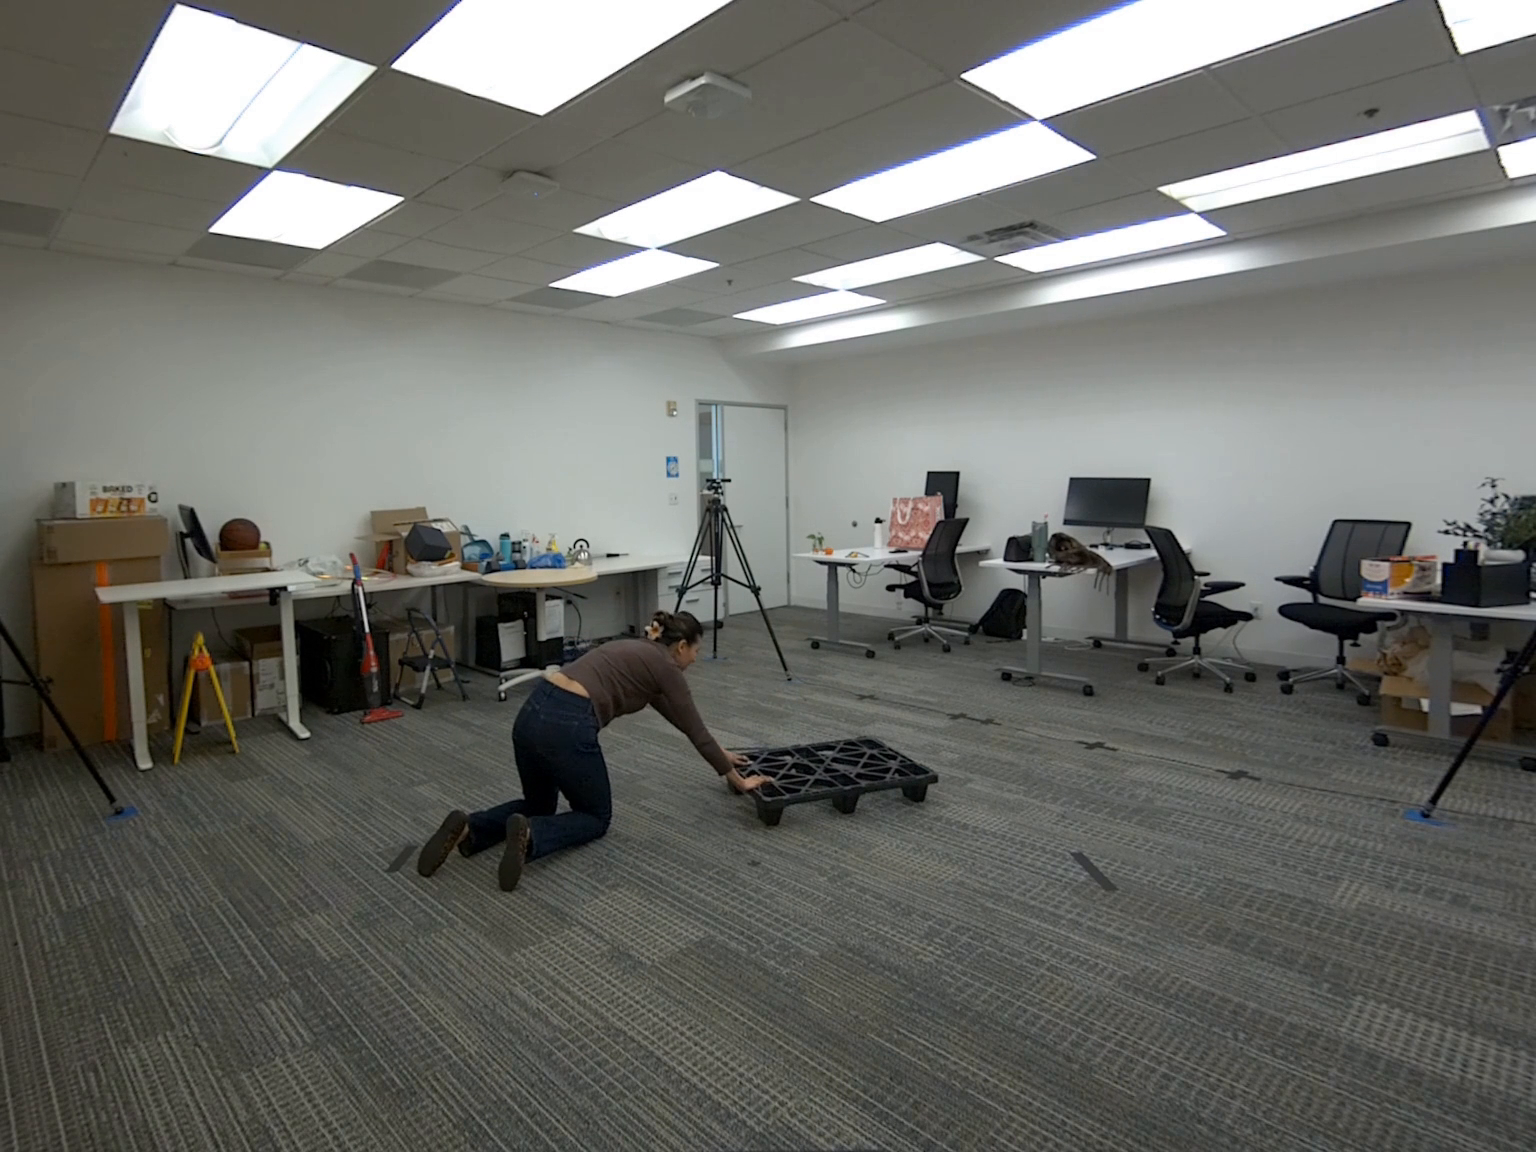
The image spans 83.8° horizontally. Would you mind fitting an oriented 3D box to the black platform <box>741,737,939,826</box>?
[{"bbox_3d":[0.231,0.895,3.774,0.792,0.143,0.618,-3,6,-20],"label":"black platform"}]
